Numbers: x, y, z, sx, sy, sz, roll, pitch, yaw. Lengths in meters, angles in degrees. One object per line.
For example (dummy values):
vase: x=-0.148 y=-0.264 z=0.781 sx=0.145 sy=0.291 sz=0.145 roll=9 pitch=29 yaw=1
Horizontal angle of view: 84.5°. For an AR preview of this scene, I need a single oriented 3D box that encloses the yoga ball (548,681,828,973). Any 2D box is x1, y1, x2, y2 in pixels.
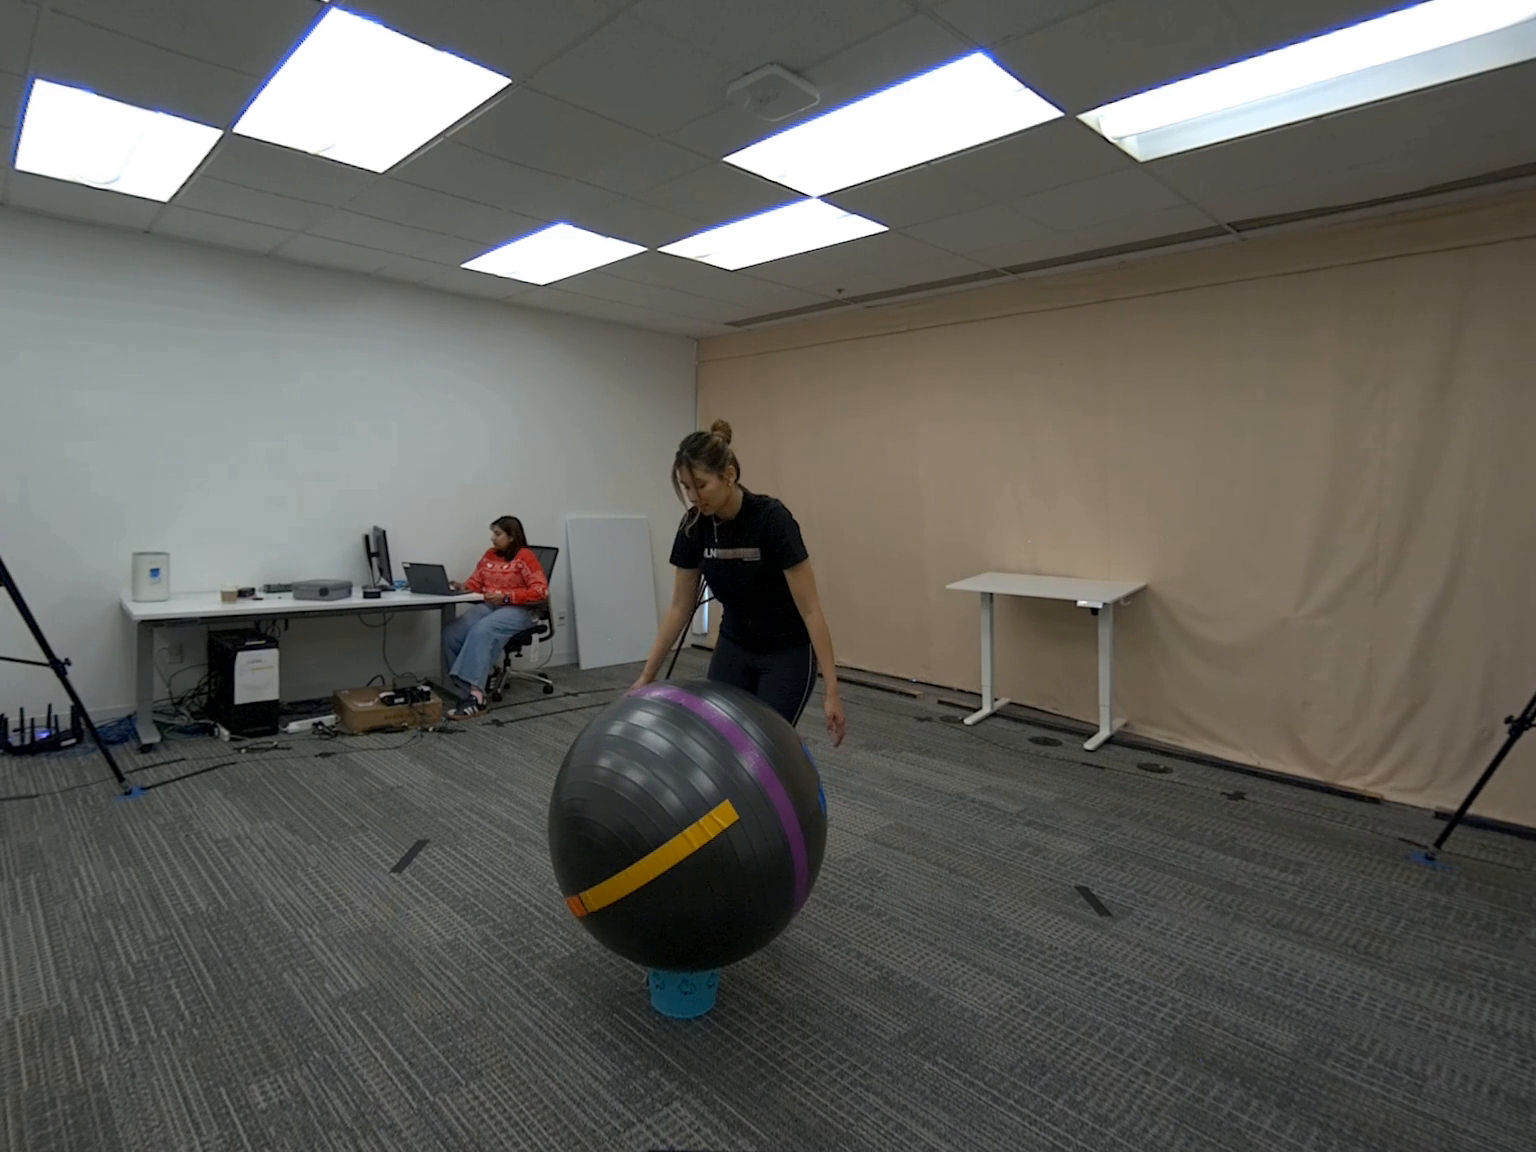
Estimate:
yoga ball: x=-0.221 y=0.670 z=2.296 sx=0.757 sy=0.756 sz=0.761 roll=1 pitch=4 yaw=-1
